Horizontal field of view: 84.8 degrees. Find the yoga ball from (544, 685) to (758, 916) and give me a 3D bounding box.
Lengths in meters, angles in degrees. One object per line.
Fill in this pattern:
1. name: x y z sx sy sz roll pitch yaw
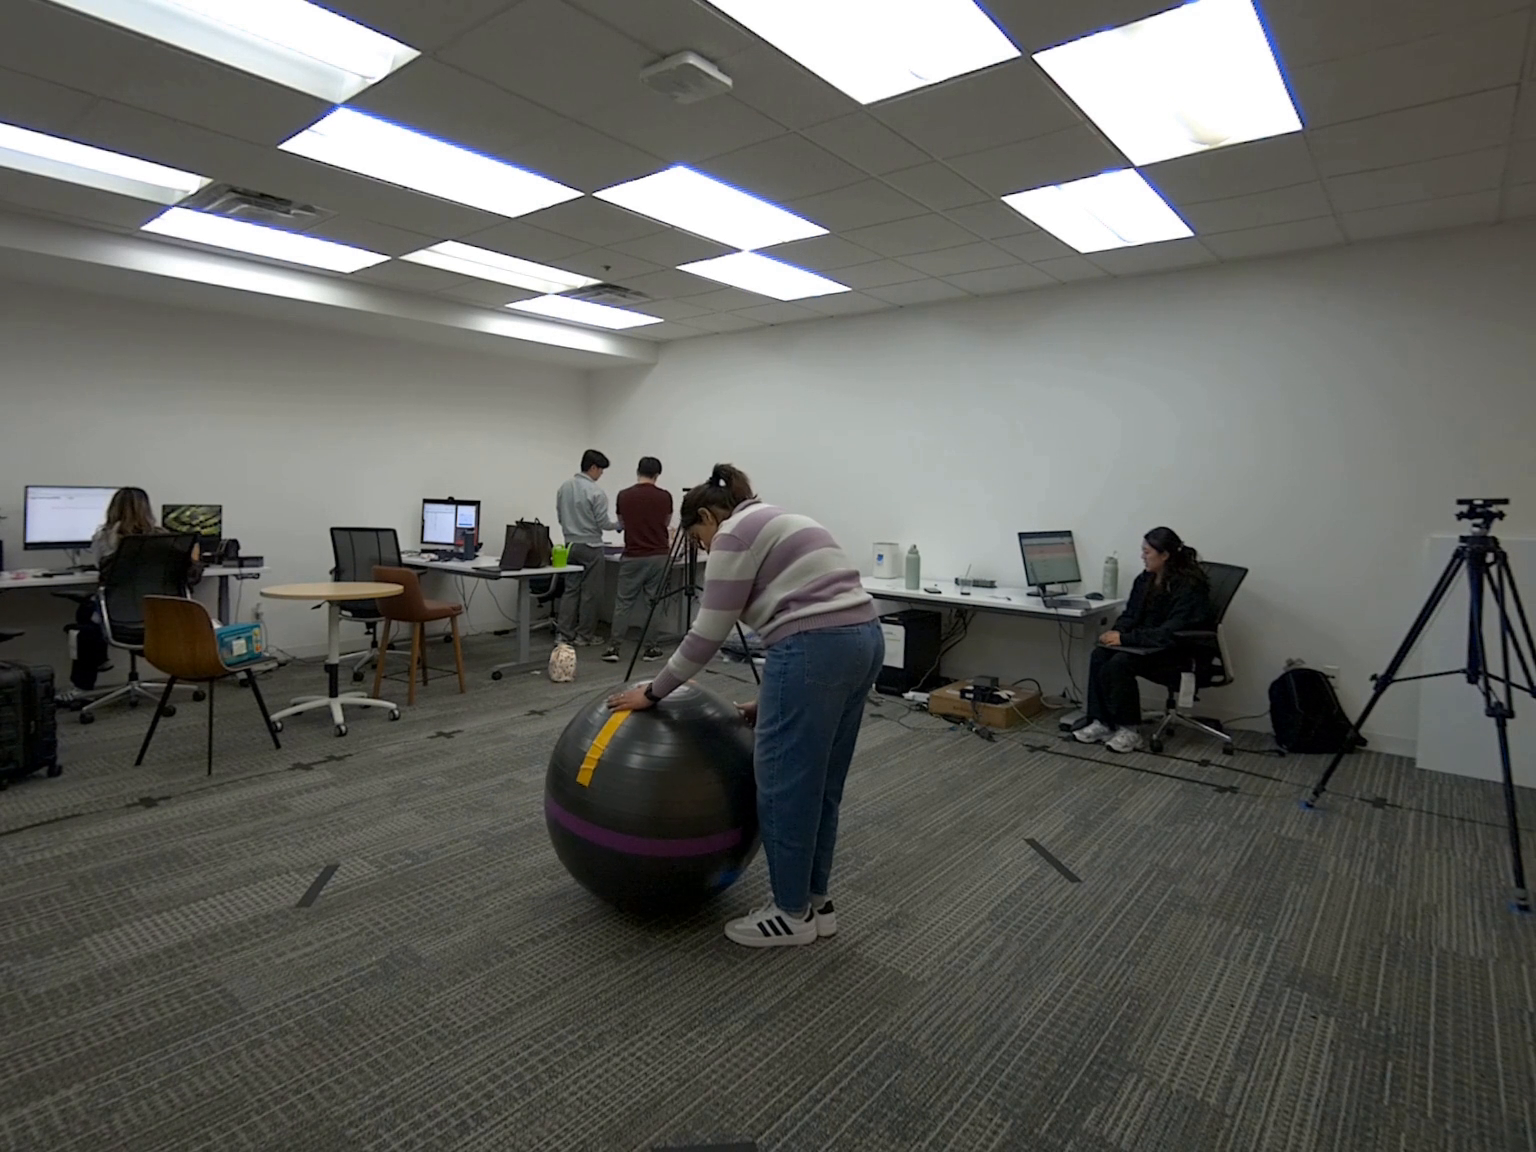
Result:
1. yoga ball: -0.374 0.725 2.848 0.757 0.756 0.762 1 4 -2
